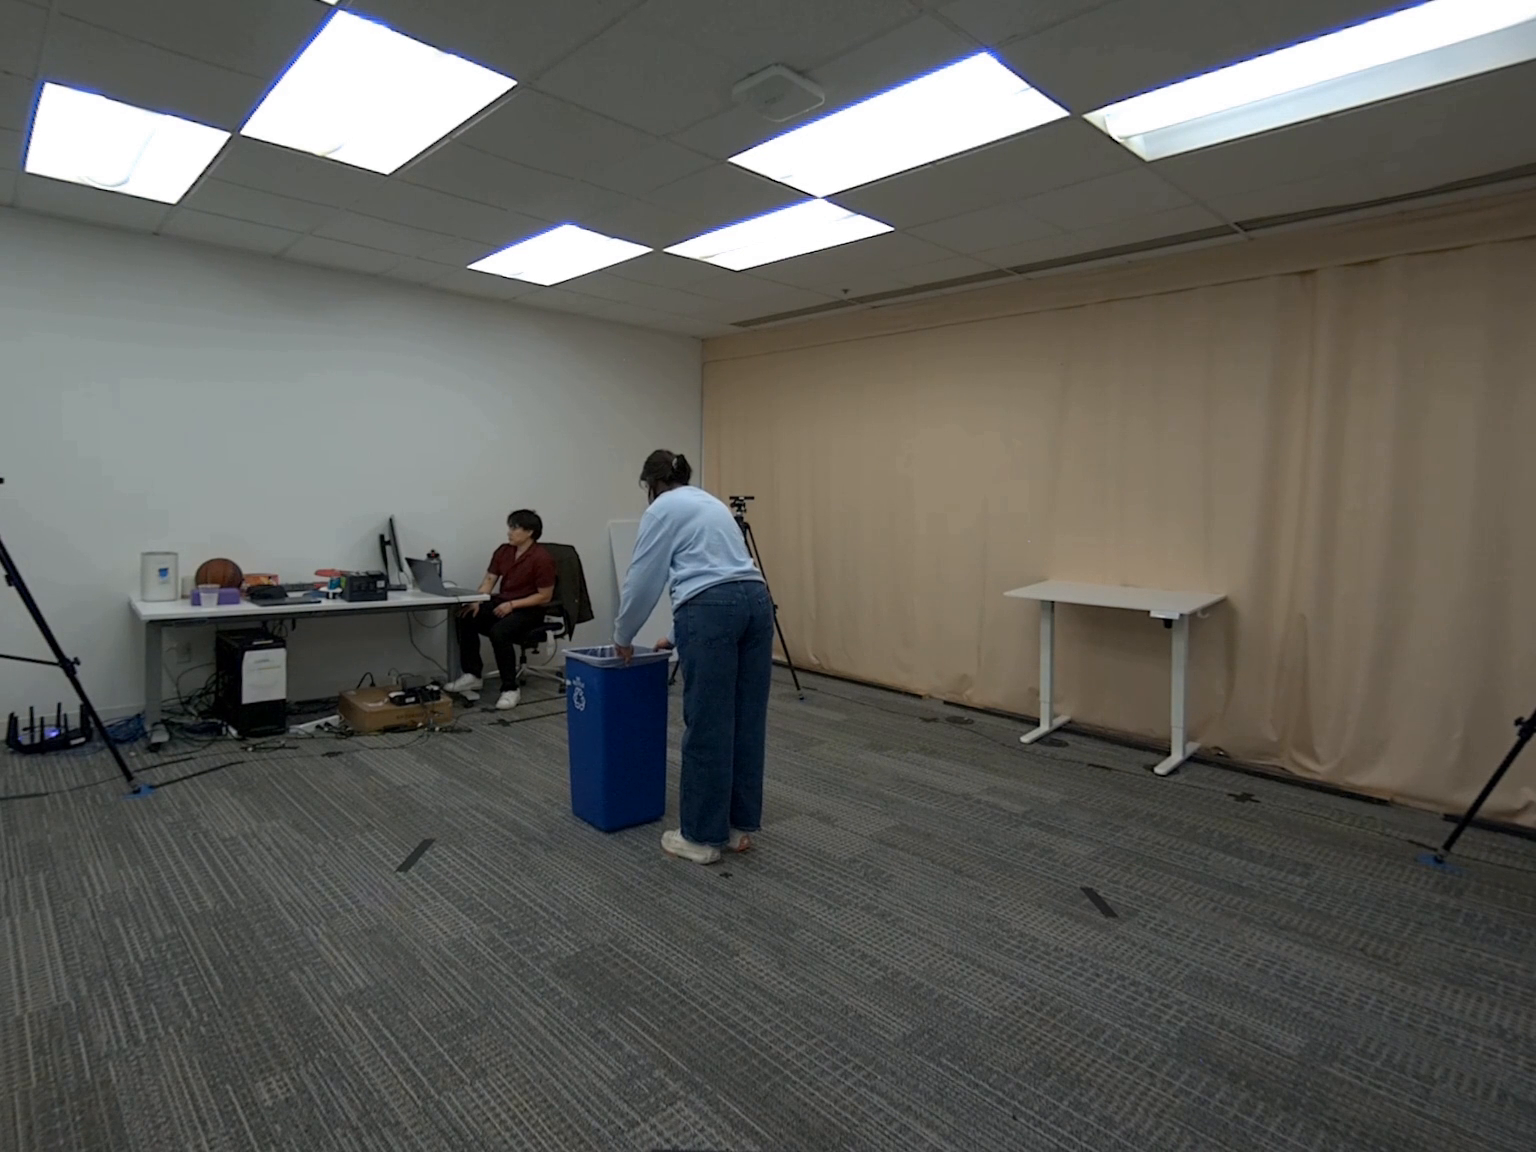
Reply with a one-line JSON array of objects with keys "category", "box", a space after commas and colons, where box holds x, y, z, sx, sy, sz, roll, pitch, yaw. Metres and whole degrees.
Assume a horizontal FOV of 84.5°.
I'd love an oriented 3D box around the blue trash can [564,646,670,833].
[{"category": "blue trash can", "box": [-0.654, 0.684, 3.648, 0.369, 0.713, 0.383, -2, 1, -40]}]
